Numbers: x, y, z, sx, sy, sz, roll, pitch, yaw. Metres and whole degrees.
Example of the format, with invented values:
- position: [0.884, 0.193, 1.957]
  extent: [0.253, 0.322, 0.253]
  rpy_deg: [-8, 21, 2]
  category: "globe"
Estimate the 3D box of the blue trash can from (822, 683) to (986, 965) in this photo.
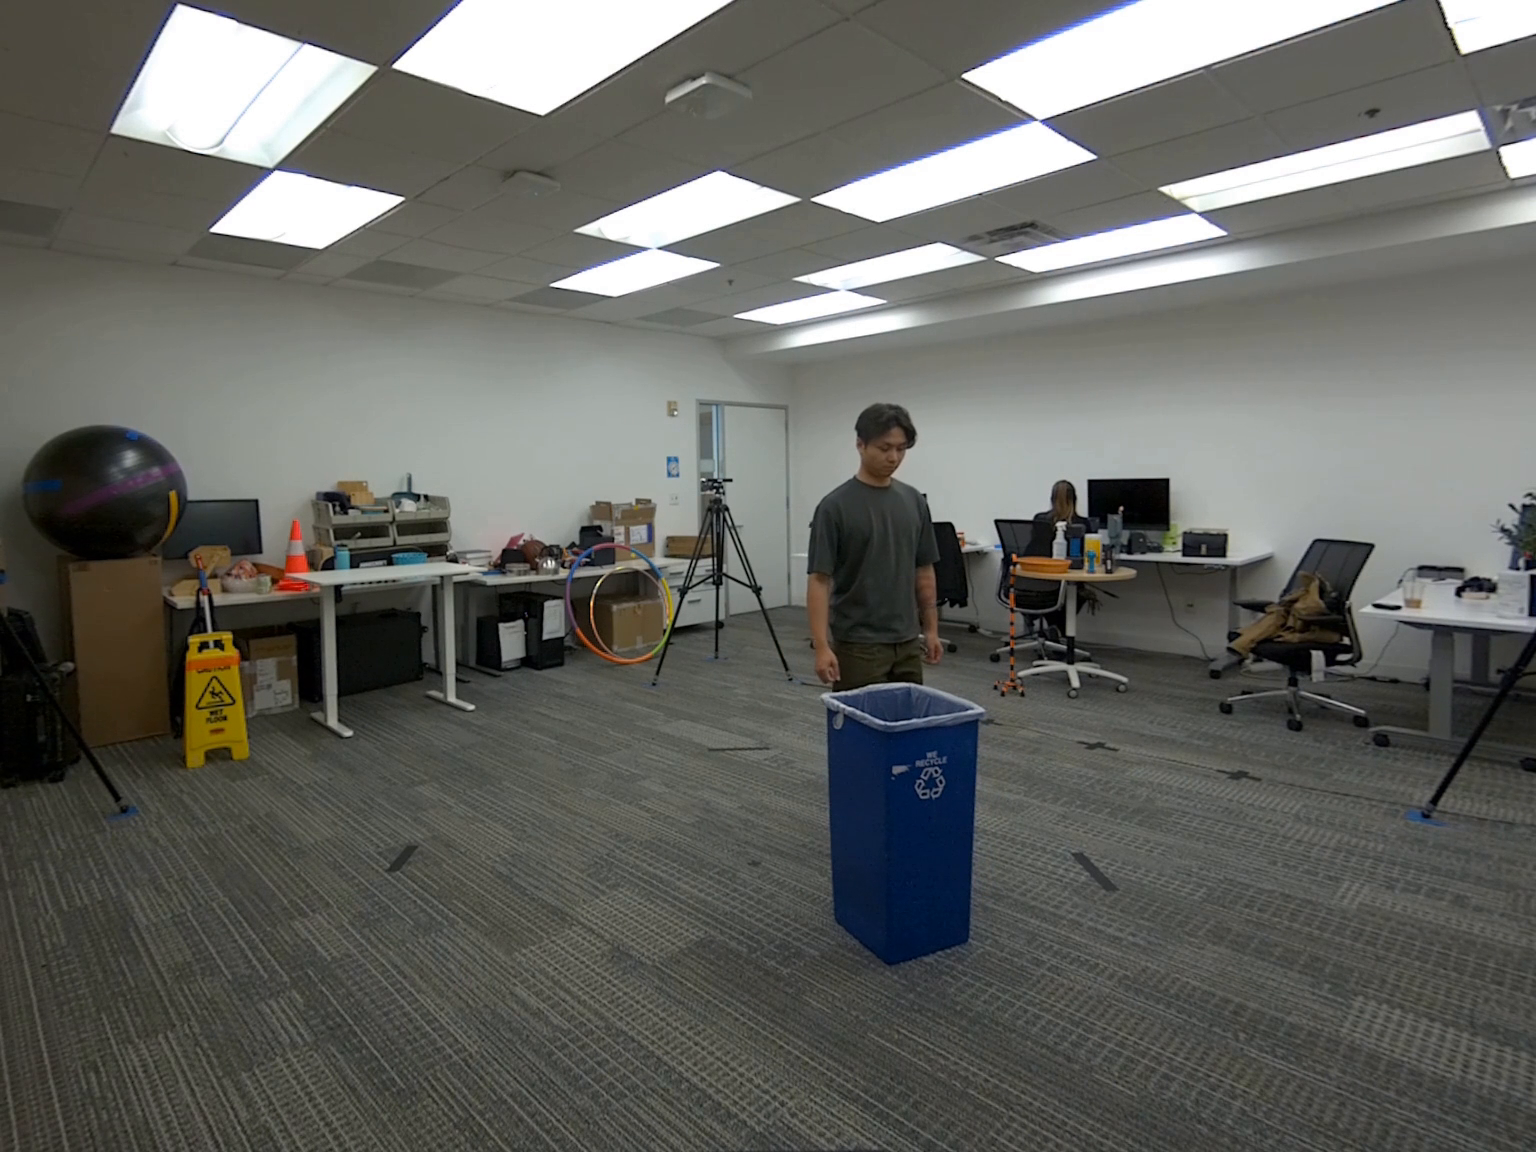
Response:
- position: [0.398, 0.736, 2.615]
  extent: [0.369, 0.710, 0.384]
  rpy_deg: [-3, 6, -29]
  category: "blue trash can"
